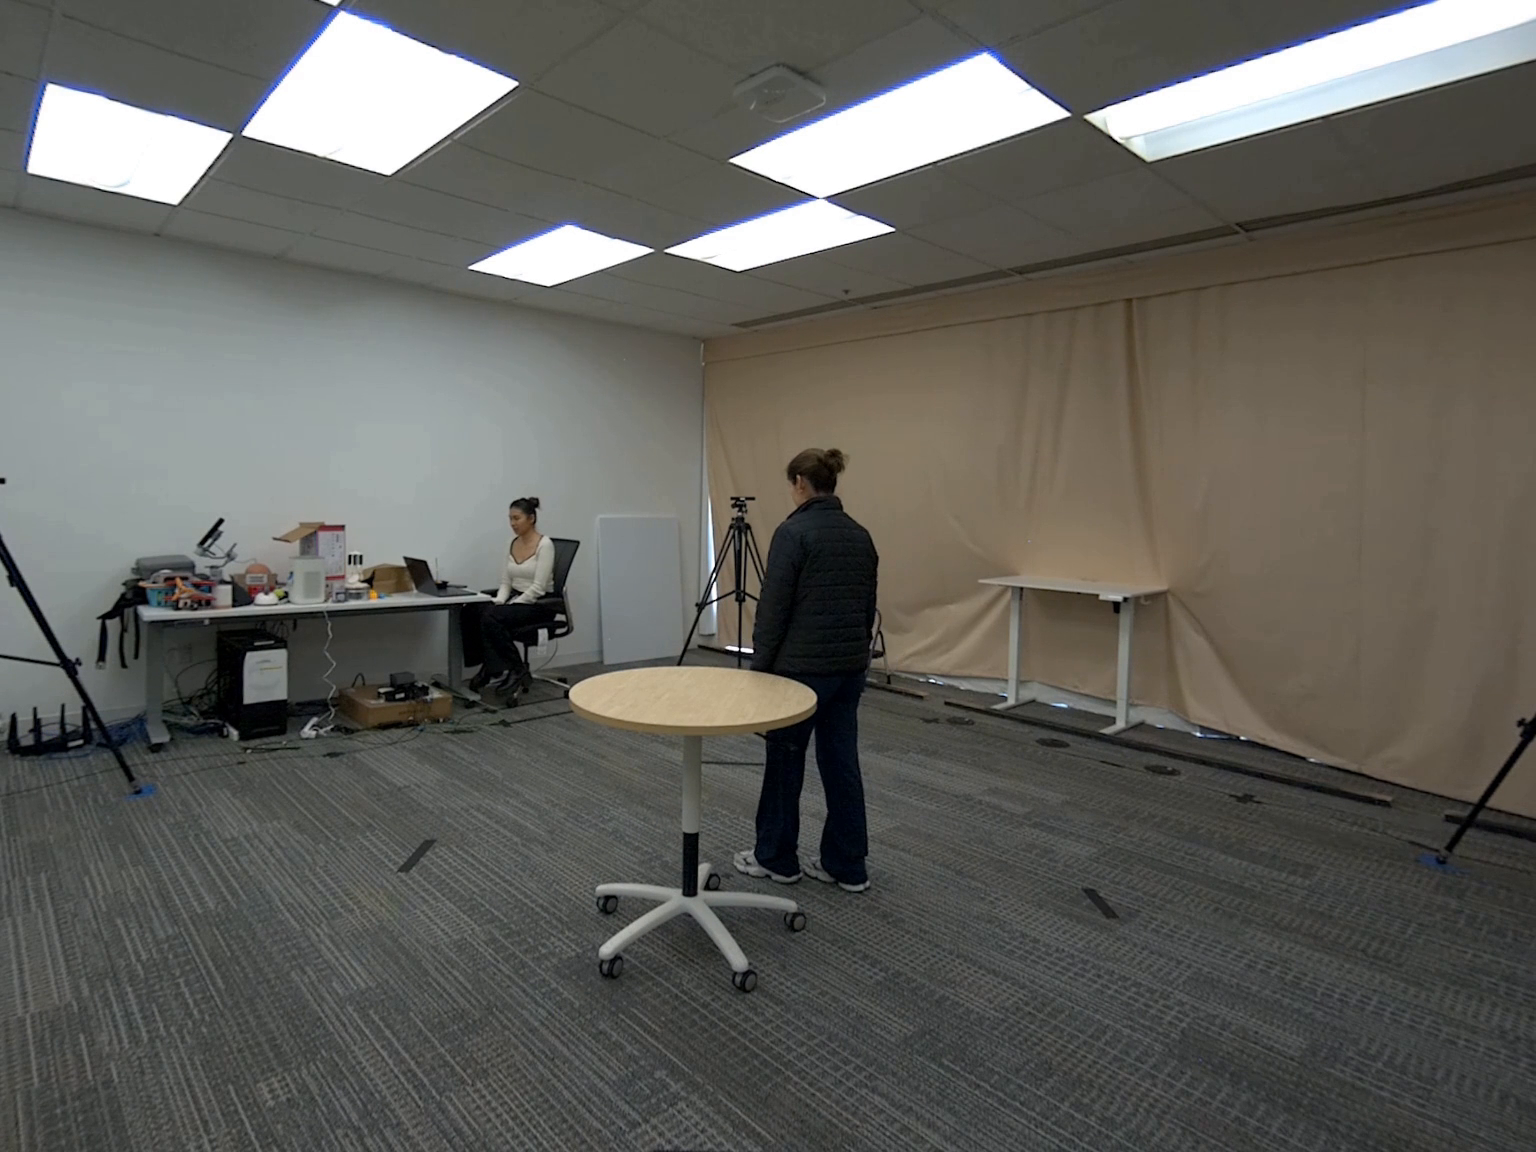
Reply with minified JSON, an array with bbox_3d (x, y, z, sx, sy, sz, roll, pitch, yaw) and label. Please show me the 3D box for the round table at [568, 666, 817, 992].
[{"bbox_3d":[-0.237,0.754,2.640,0.784,0.784,0.788,1,5,-1],"label":"round table"}]
